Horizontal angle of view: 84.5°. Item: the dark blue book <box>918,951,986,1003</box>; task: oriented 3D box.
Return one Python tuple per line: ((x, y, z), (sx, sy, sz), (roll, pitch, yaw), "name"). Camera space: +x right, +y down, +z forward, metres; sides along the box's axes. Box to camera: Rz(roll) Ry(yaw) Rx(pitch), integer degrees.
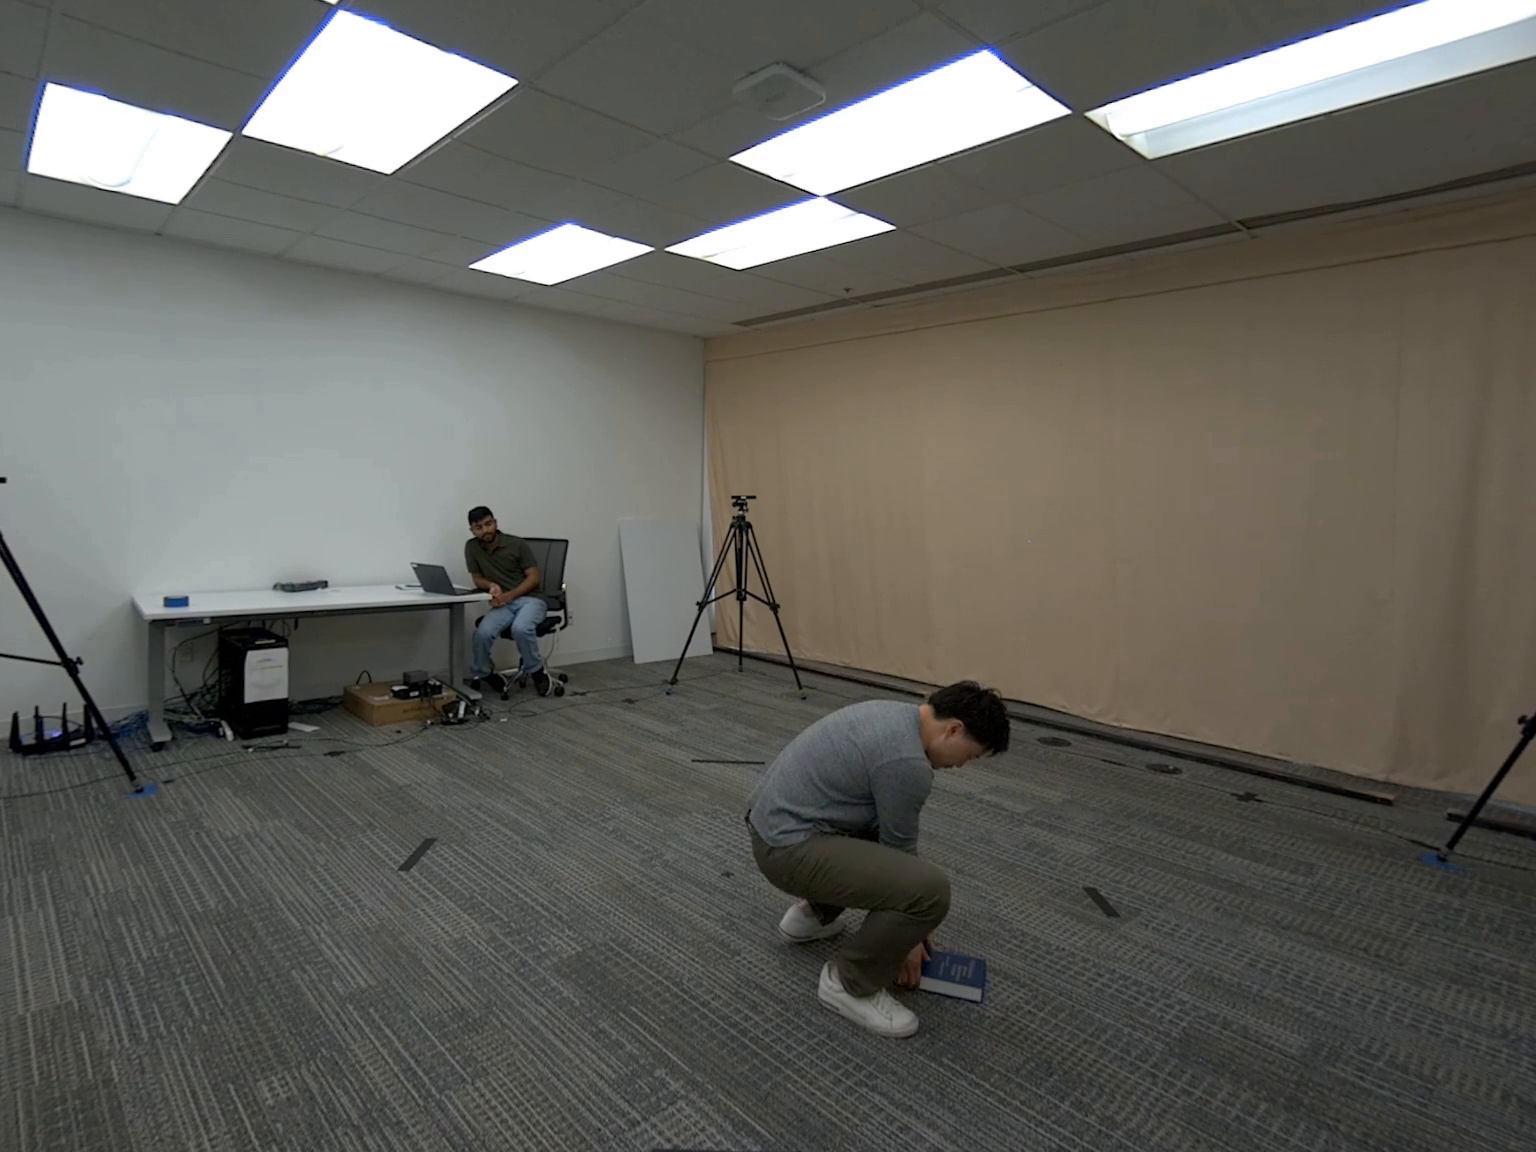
((0.498, 1.151, 2.452), (0.249, 0.045, 0.161), (2, 6, 19), "dark blue book")
